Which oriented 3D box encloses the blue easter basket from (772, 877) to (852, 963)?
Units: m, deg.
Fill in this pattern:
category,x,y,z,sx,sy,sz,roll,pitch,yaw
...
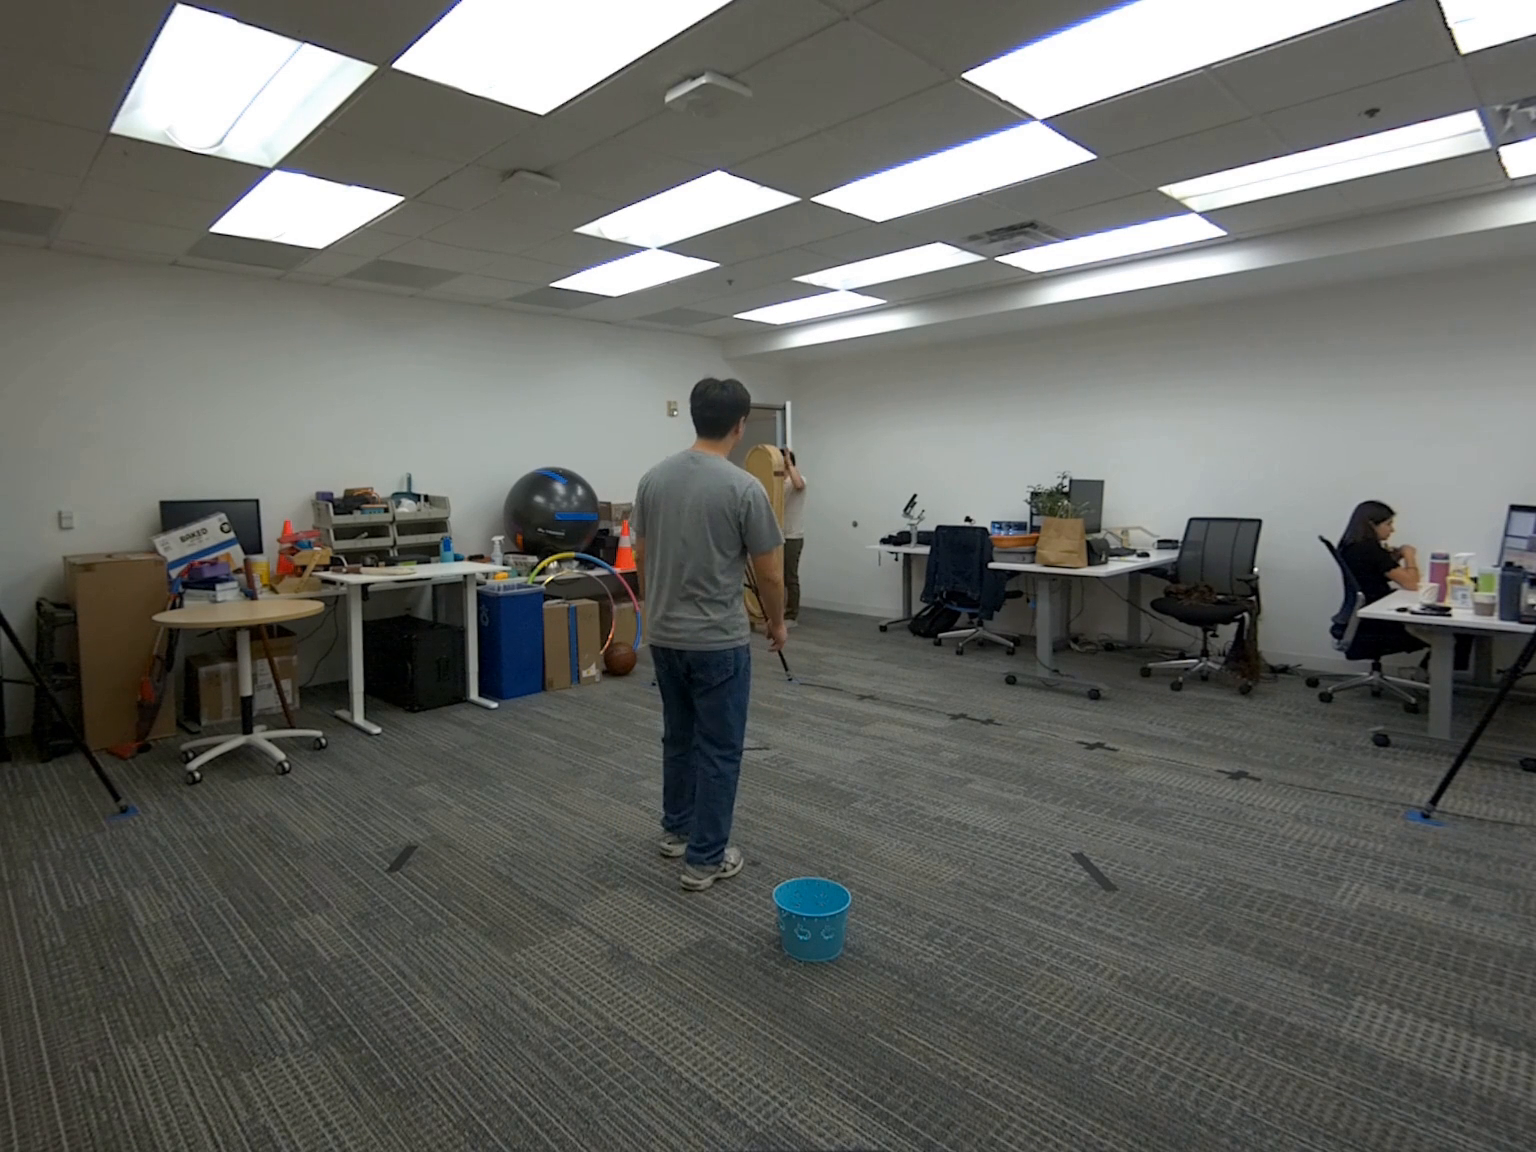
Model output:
category,x,y,z,sx,sy,sz,roll,pitch,yaw
blue easter basket,0.137,1.027,2.558,0.243,0.155,0.245,-1,6,-2
